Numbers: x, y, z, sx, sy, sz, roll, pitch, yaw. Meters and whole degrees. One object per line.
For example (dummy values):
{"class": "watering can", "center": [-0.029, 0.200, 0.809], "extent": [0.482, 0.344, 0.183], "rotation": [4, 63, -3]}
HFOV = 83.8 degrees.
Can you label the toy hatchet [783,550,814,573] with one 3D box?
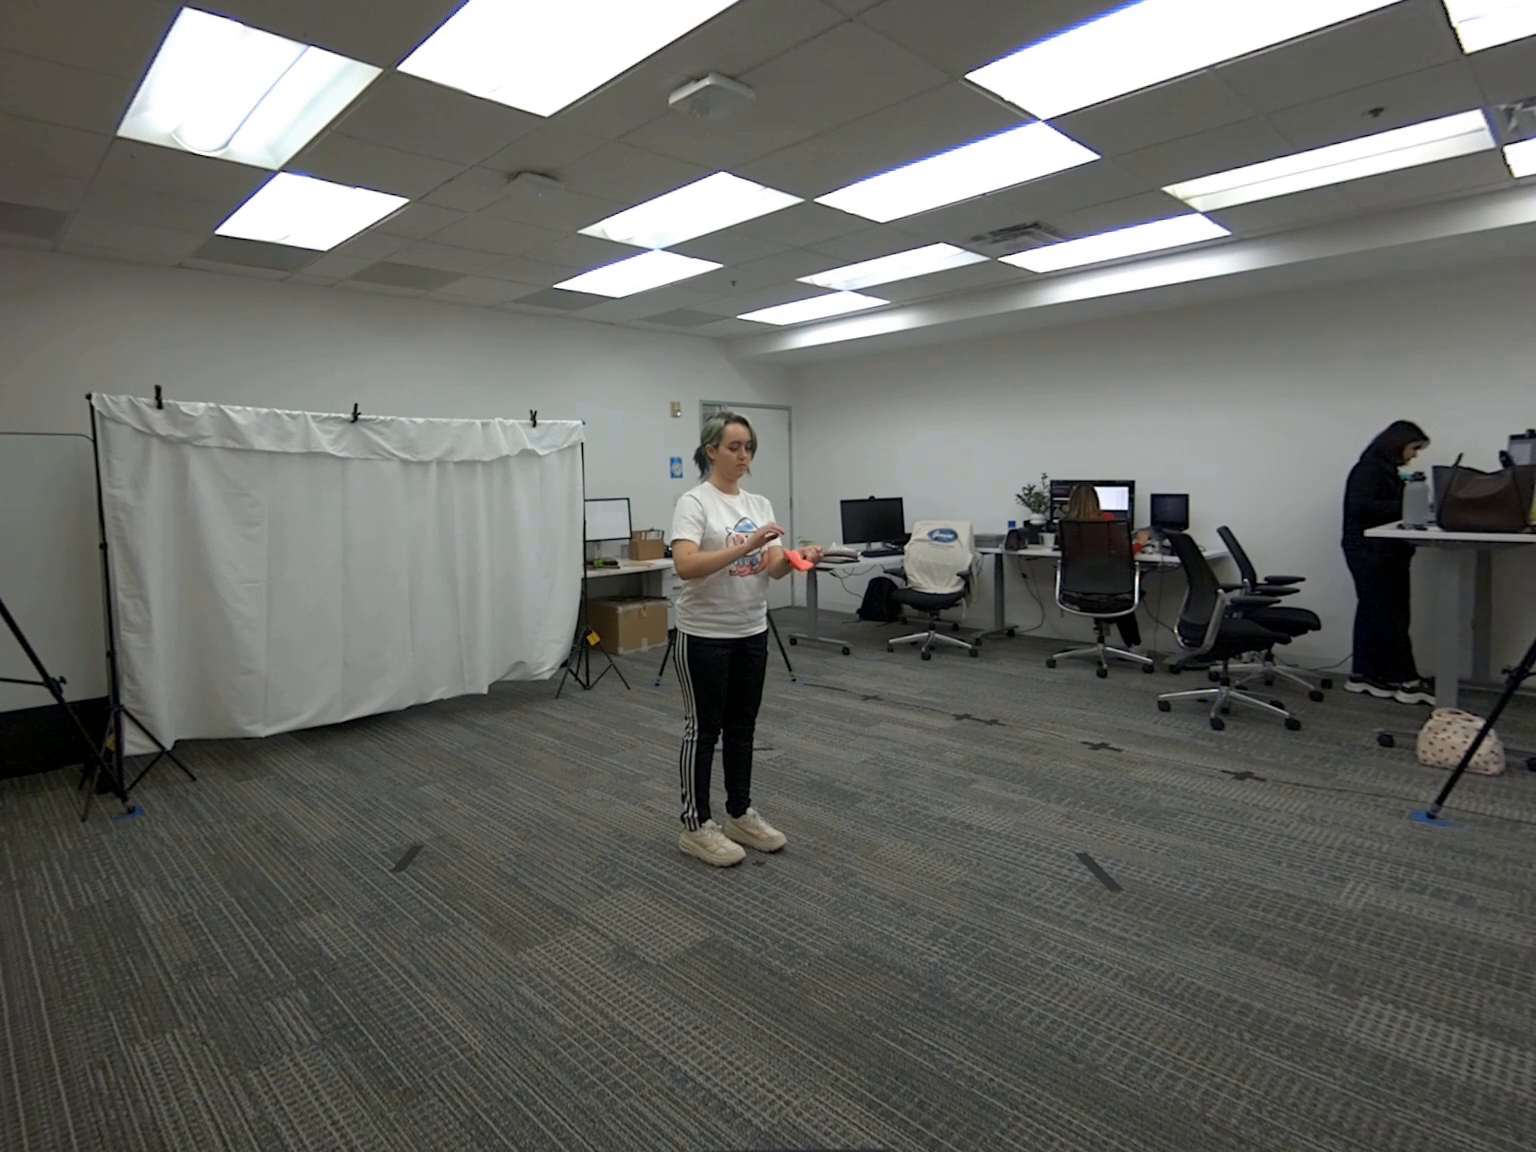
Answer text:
{"class": "toy hatchet", "center": [0.175, -0.052, 2.898], "extent": [0.267, 0.029, 0.135], "rotation": [3, 32, -10]}
